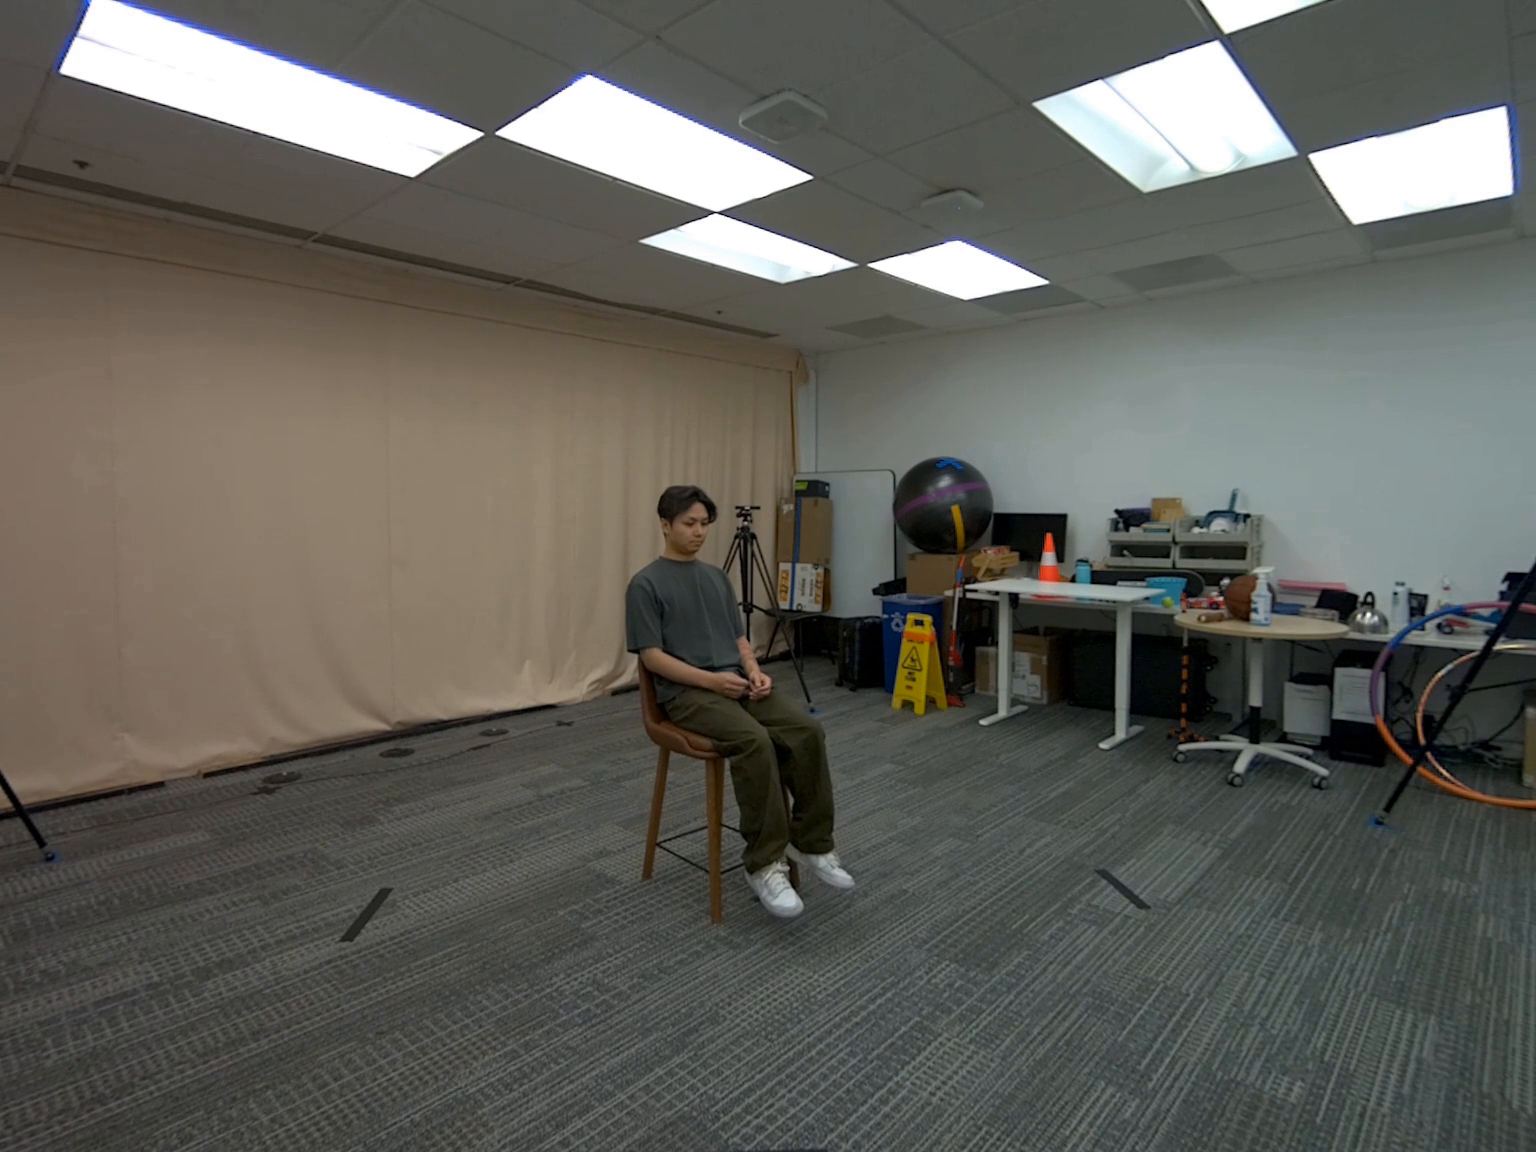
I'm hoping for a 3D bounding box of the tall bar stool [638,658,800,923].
[{"bbox_3d":[-0.197,0.703,3.096,0.442,0.889,0.482,-4,2,-43],"label":"tall bar stool"}]
